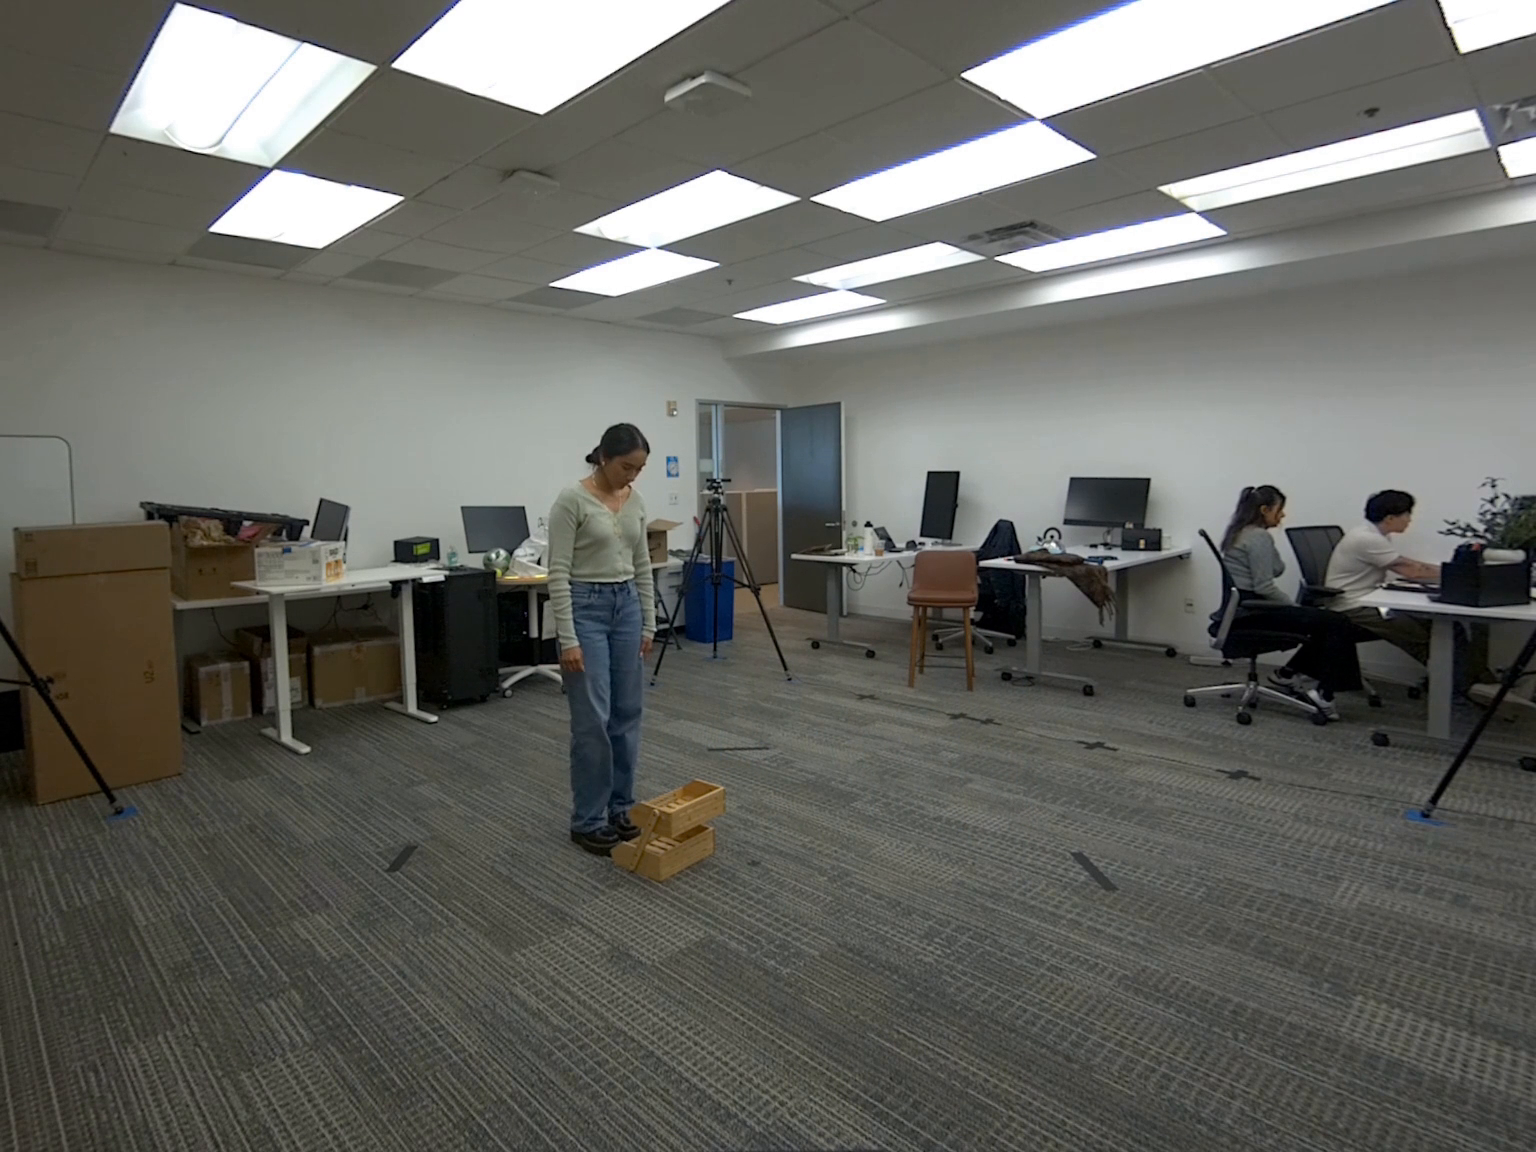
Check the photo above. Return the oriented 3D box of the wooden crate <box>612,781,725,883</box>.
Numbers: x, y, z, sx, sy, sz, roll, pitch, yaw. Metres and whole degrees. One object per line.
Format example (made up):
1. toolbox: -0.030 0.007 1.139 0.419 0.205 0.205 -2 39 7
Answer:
1. wooden crate: -0.364 0.913 3.139 0.311 0.272 0.316 4 7 37
